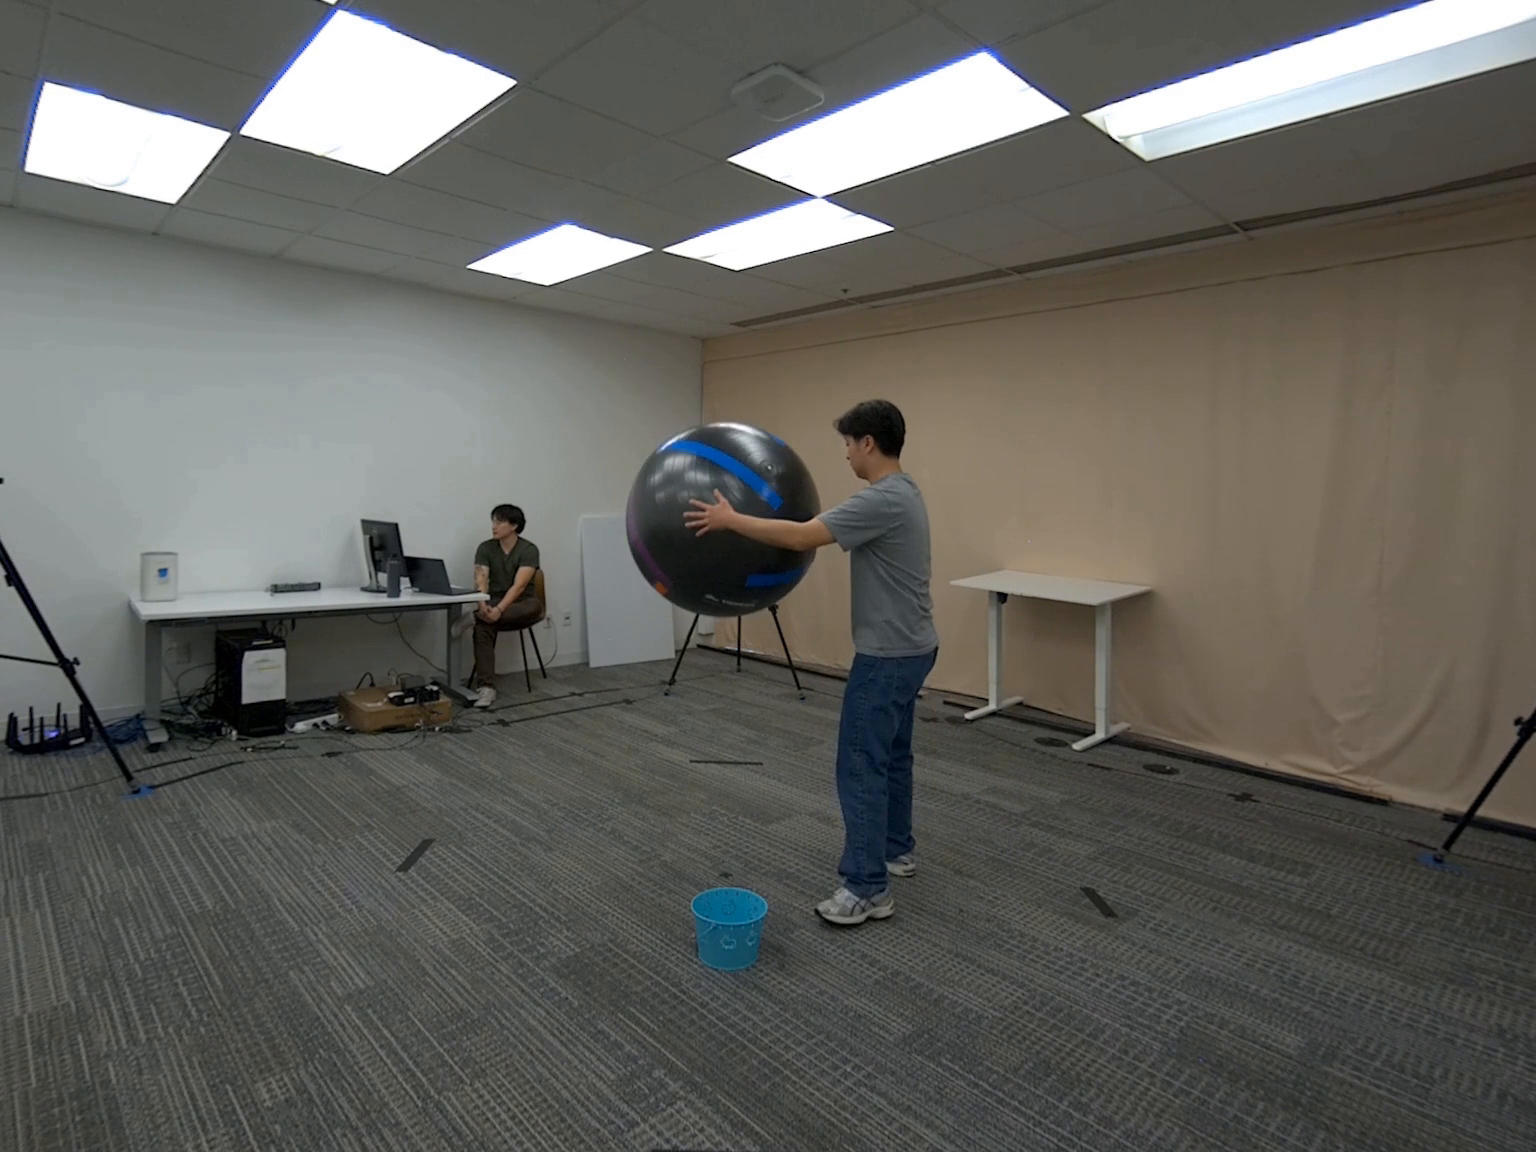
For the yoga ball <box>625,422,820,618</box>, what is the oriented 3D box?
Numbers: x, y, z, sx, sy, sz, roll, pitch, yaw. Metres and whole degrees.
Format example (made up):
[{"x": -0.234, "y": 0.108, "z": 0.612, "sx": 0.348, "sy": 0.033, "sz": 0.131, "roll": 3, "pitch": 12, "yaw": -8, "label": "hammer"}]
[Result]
[{"x": -0.174, "y": -0.208, "z": 3.265, "sx": 0.757, "sy": 0.756, "sz": 0.761, "roll": 1, "pitch": 4, "yaw": -1, "label": "yoga ball"}]
